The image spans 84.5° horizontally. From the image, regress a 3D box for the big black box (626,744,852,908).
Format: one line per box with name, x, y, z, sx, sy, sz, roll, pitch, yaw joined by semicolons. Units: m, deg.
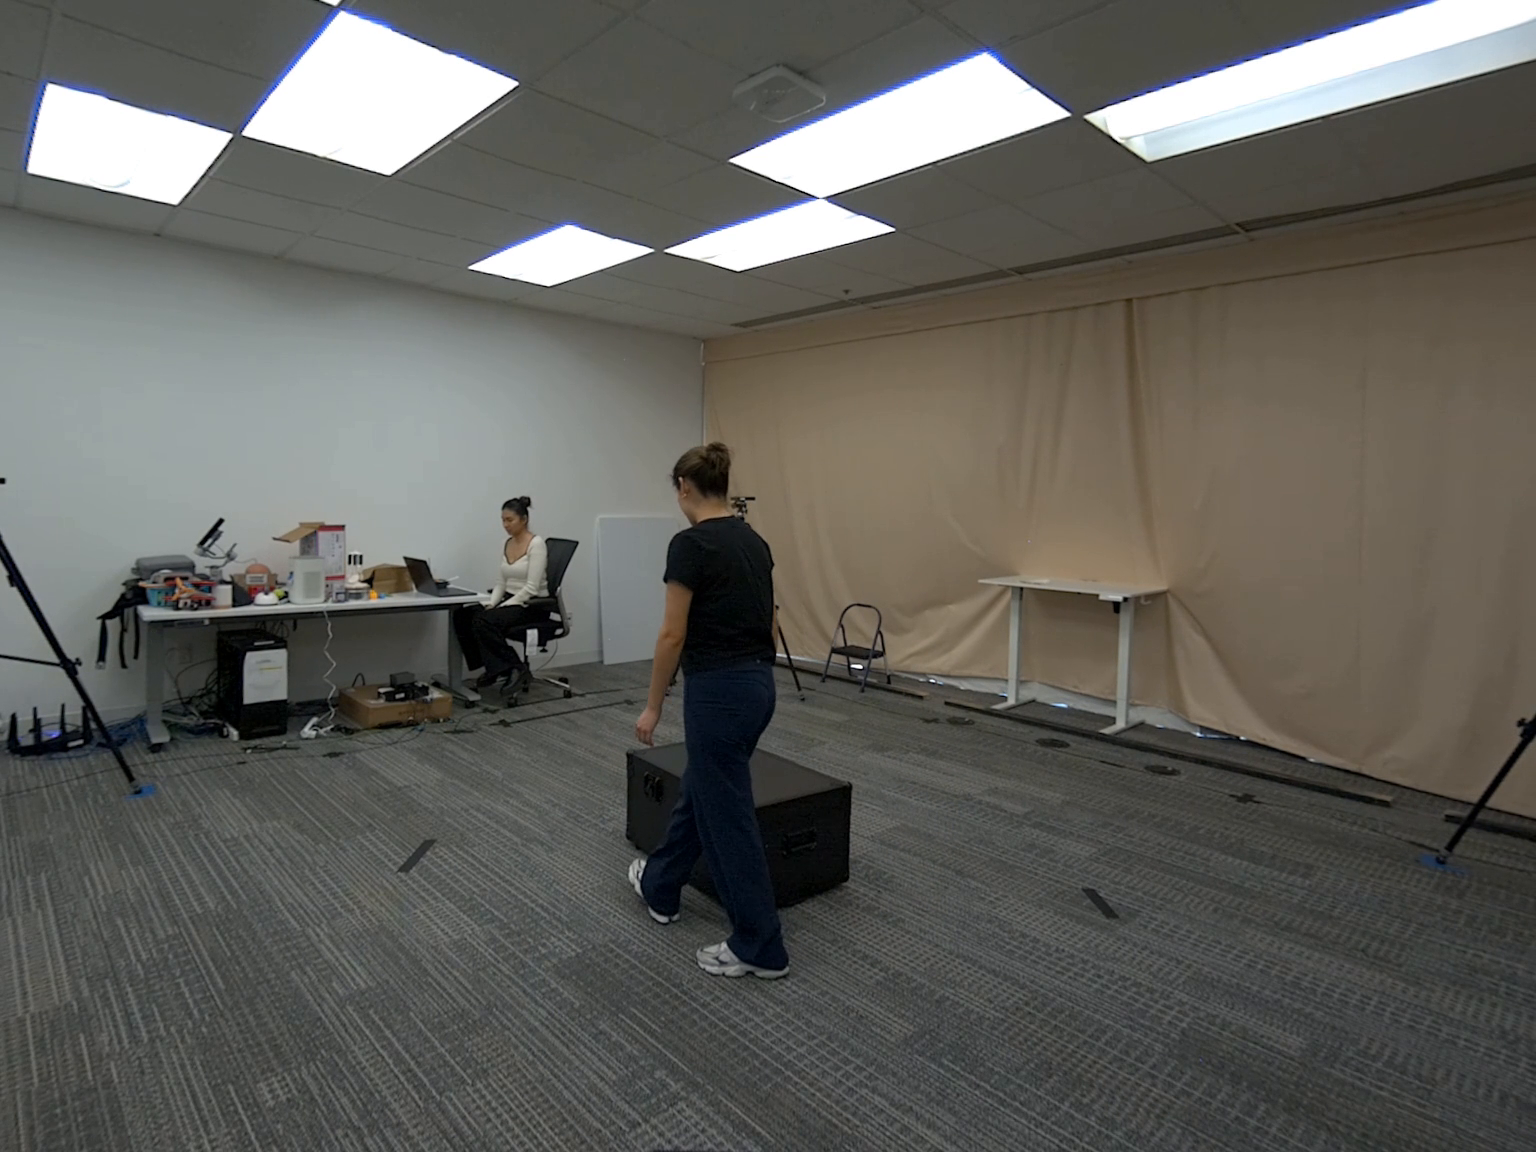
big black box;-0.122;0.911;3.155;0.510;0.395;0.883;-2;6;-38
